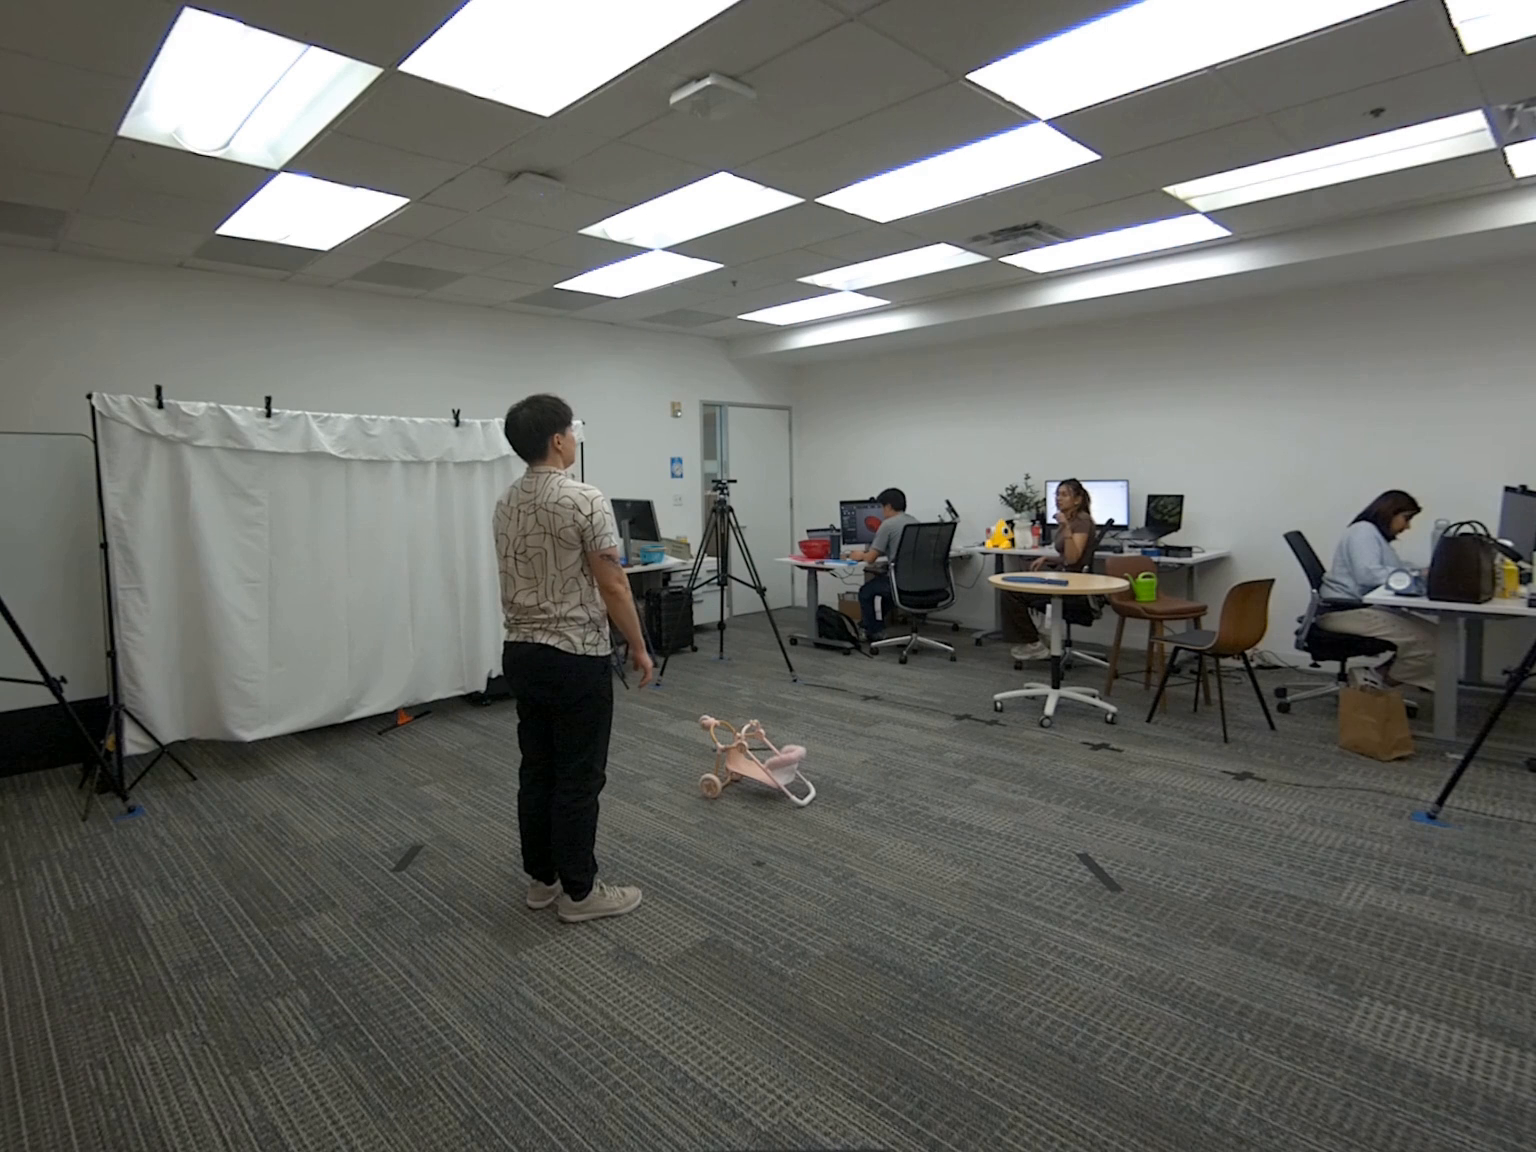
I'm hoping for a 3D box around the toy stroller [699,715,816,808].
[{"bbox_3d":[-0.066,0.809,3.808,0.547,0.341,0.275,0,1,26],"label":"toy stroller"}]
